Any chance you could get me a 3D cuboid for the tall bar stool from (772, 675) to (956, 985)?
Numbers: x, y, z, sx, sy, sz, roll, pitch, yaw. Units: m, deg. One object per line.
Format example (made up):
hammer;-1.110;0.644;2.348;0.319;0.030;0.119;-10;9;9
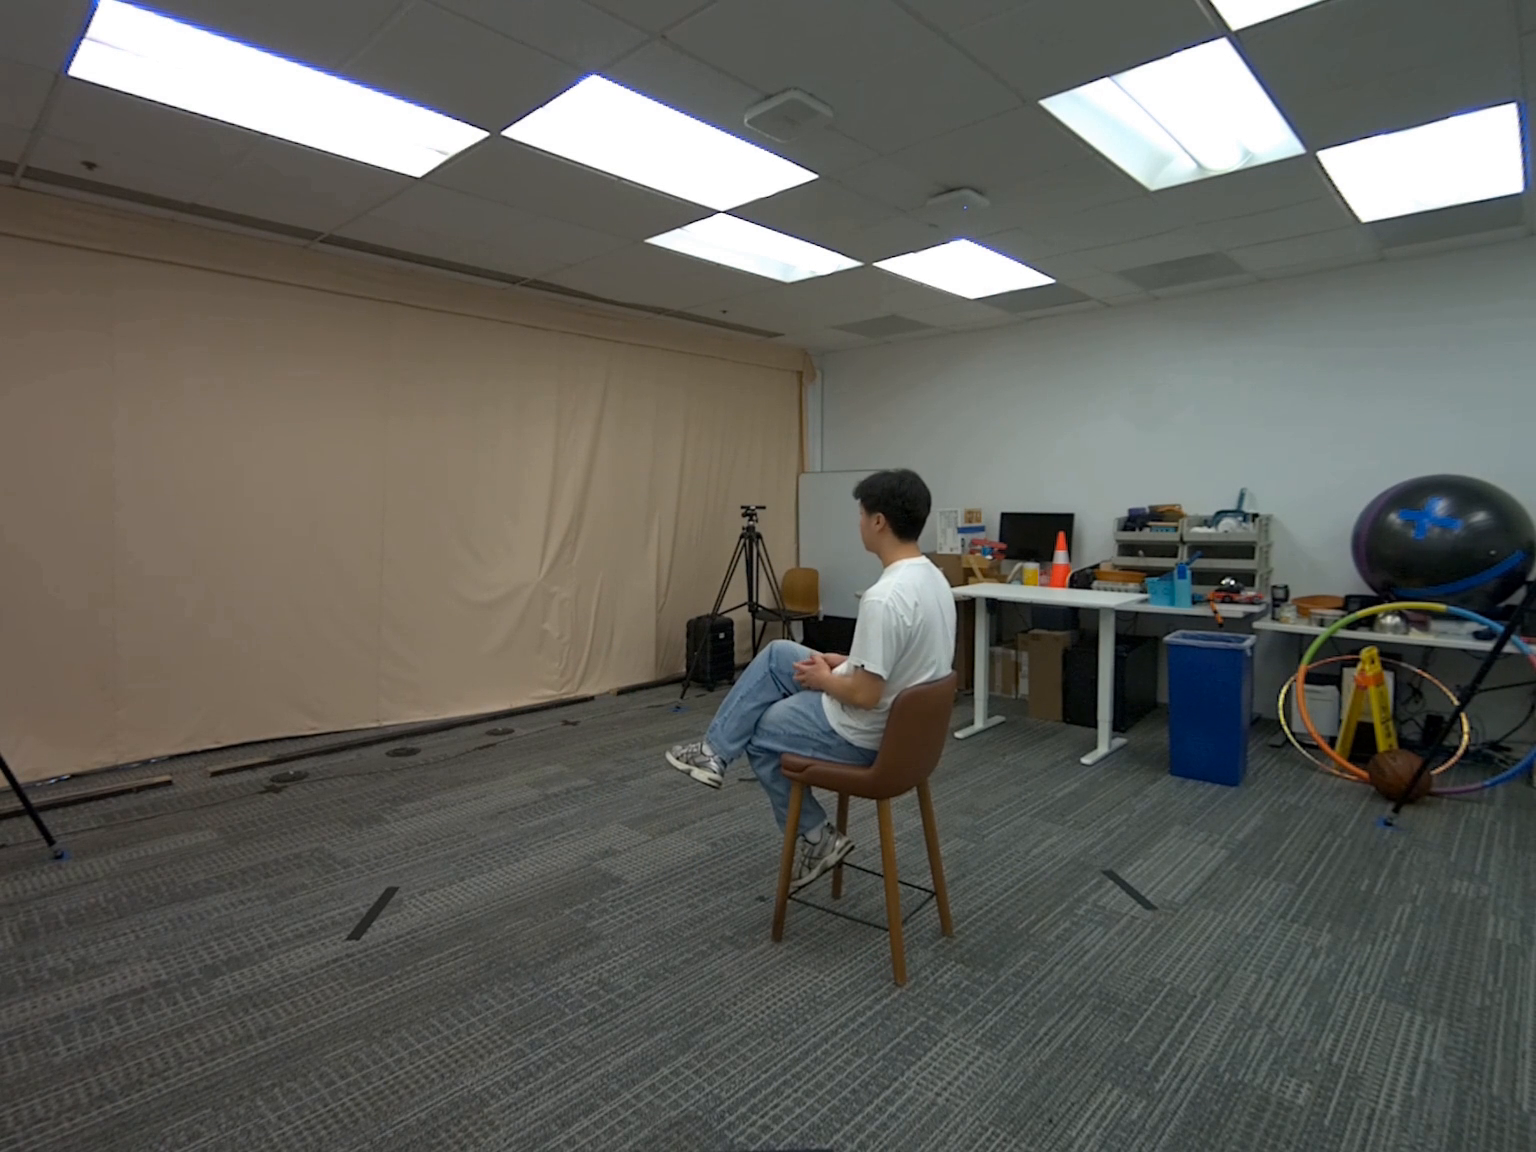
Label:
tall bar stool;0.323;0.735;2.683;0.483;0.886;0.443;5;7;36
